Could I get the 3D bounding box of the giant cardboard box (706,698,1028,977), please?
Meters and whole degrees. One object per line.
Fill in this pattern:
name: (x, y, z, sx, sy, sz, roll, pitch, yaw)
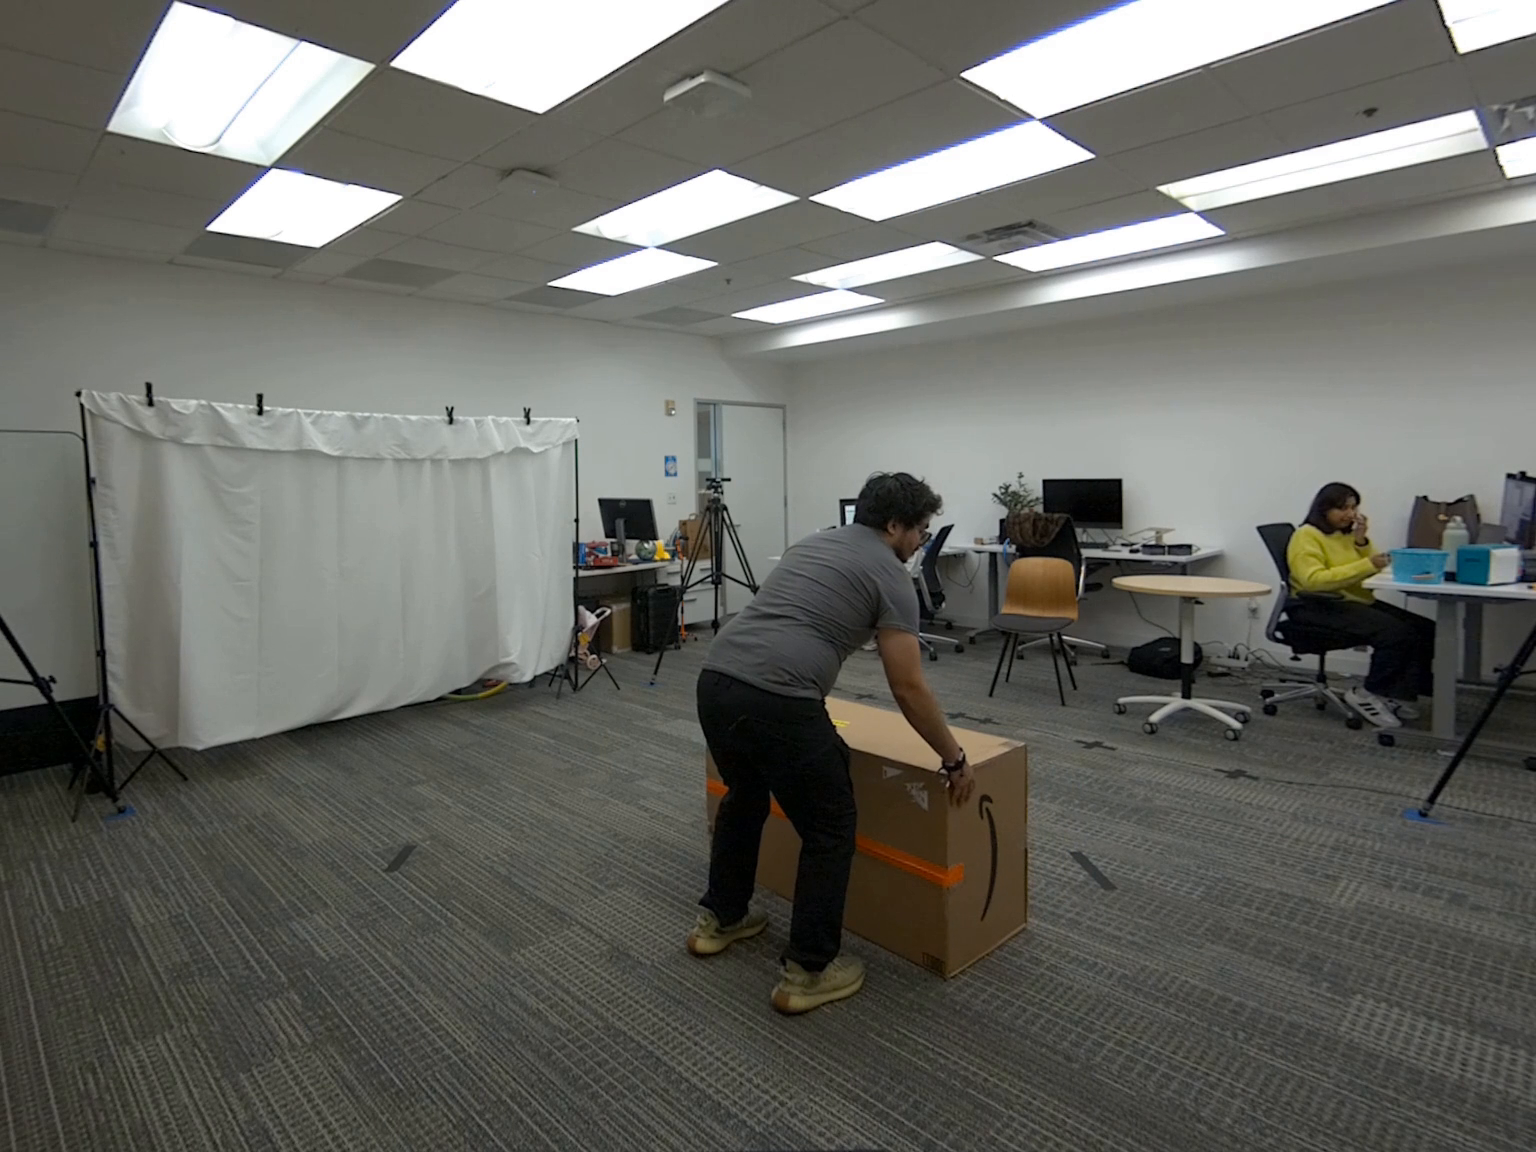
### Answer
giant cardboard box: (0.294, 0.778, 2.866, 0.415, 0.575, 1.058, -4, 6, -42)
